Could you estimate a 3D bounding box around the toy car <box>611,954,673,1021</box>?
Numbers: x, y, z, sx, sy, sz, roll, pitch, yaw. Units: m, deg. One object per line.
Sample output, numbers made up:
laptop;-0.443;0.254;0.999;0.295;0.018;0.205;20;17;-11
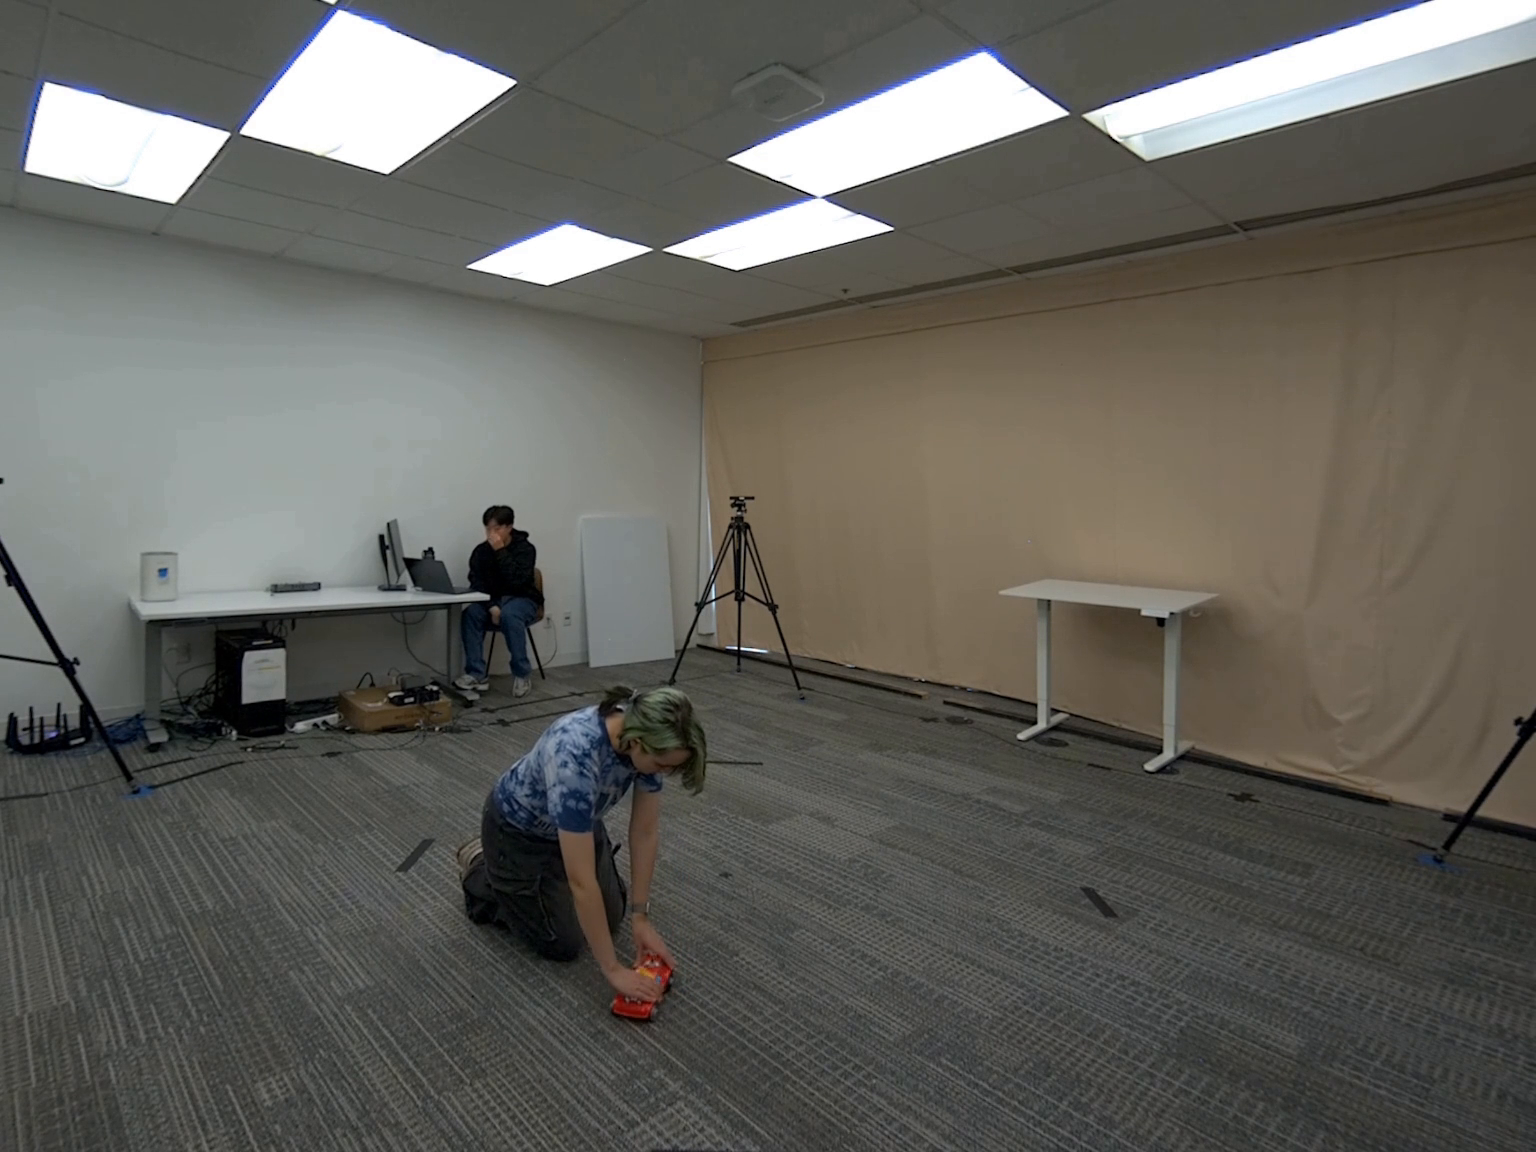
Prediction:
toy car;-0.350;1.144;2.324;0.132;0.082;0.254;2;15;12
